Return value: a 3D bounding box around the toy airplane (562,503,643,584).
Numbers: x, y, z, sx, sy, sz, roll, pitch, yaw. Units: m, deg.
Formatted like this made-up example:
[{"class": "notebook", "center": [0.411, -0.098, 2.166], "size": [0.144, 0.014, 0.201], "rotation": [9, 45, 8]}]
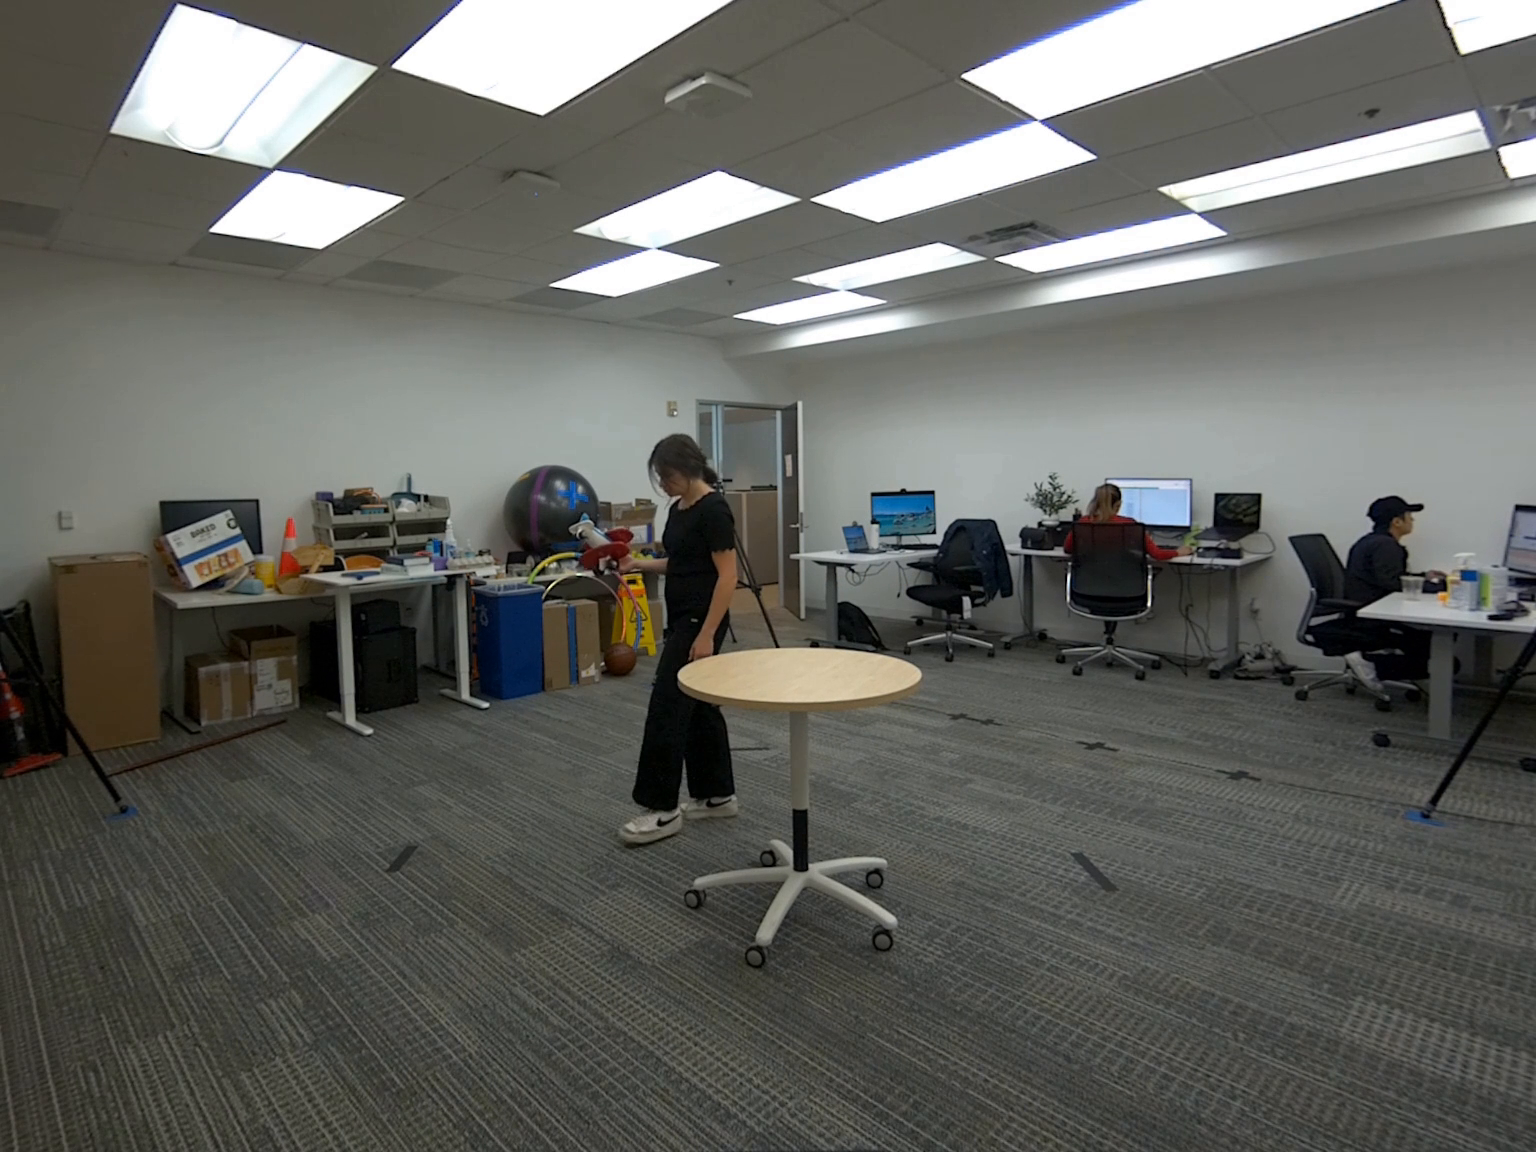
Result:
[{"class": "toy airplane", "center": [-0.676, -0.136, 3.519], "size": [0.255, 0.252, 0.158], "rotation": [7, 39, 15]}]
